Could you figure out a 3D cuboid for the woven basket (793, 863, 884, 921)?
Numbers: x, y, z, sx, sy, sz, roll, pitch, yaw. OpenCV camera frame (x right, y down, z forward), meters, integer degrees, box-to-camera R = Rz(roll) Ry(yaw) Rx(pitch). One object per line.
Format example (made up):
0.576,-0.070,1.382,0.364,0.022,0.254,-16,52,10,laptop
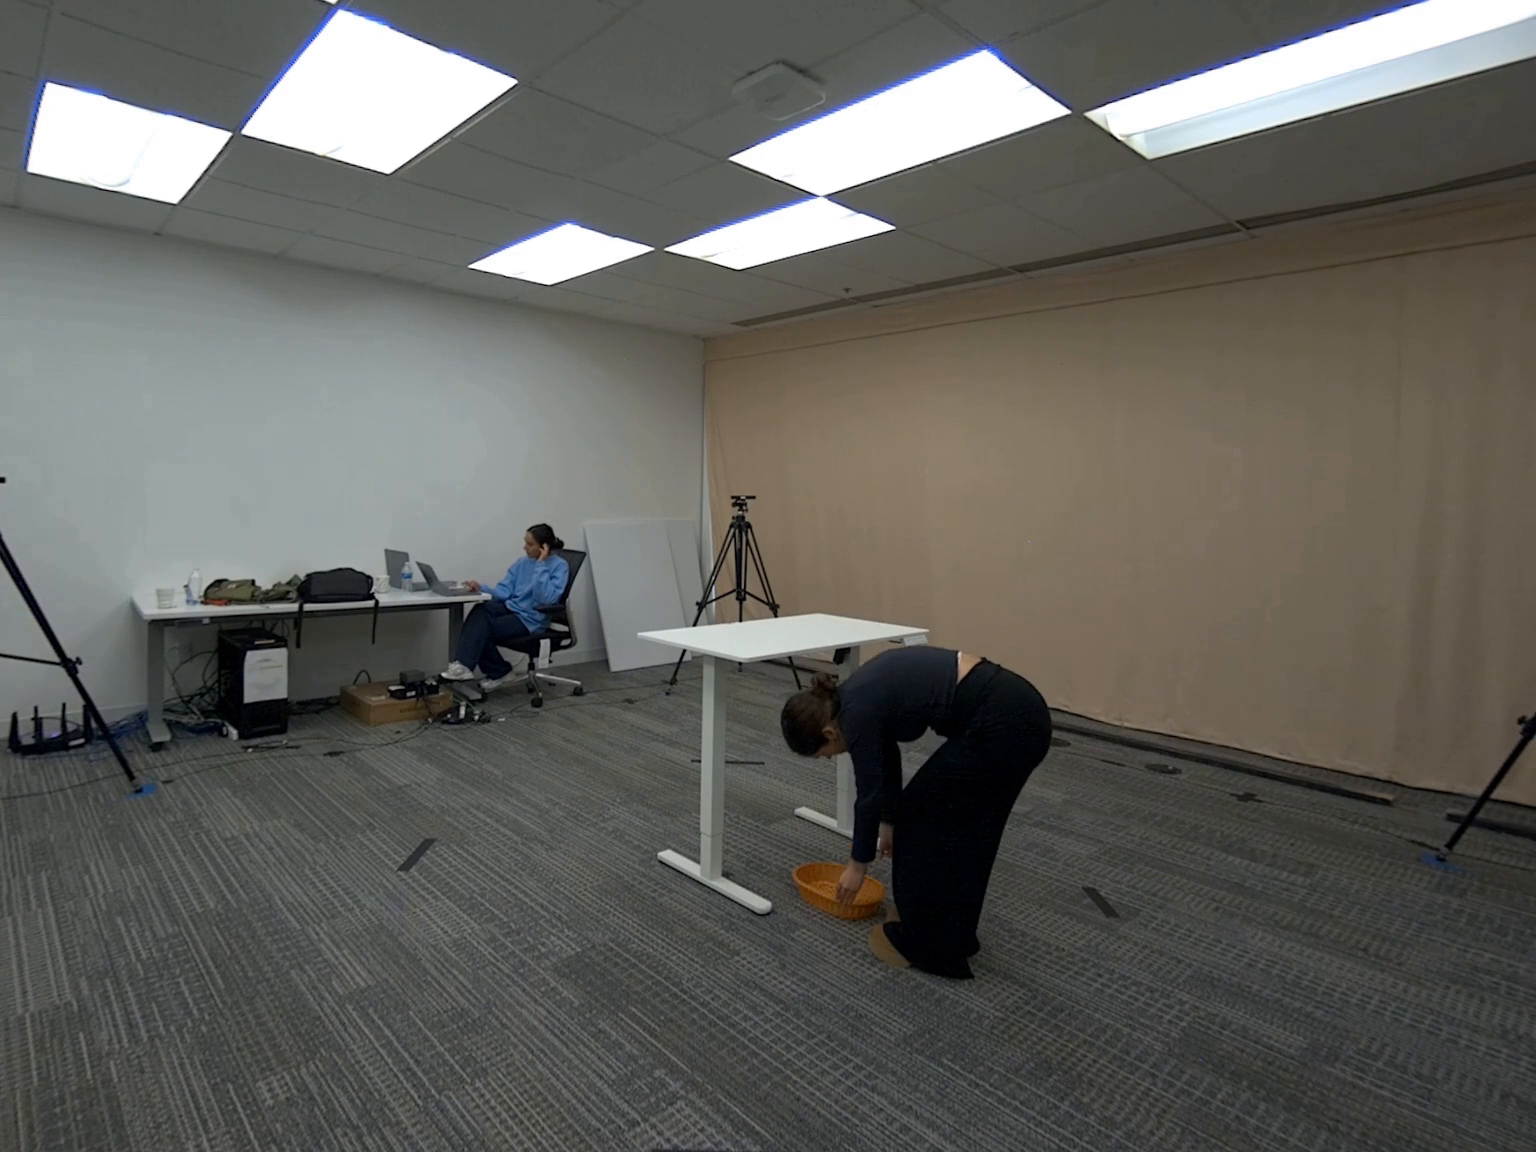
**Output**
0.235,1.084,2.908,0.246,0.073,0.359,-3,6,-44,woven basket
